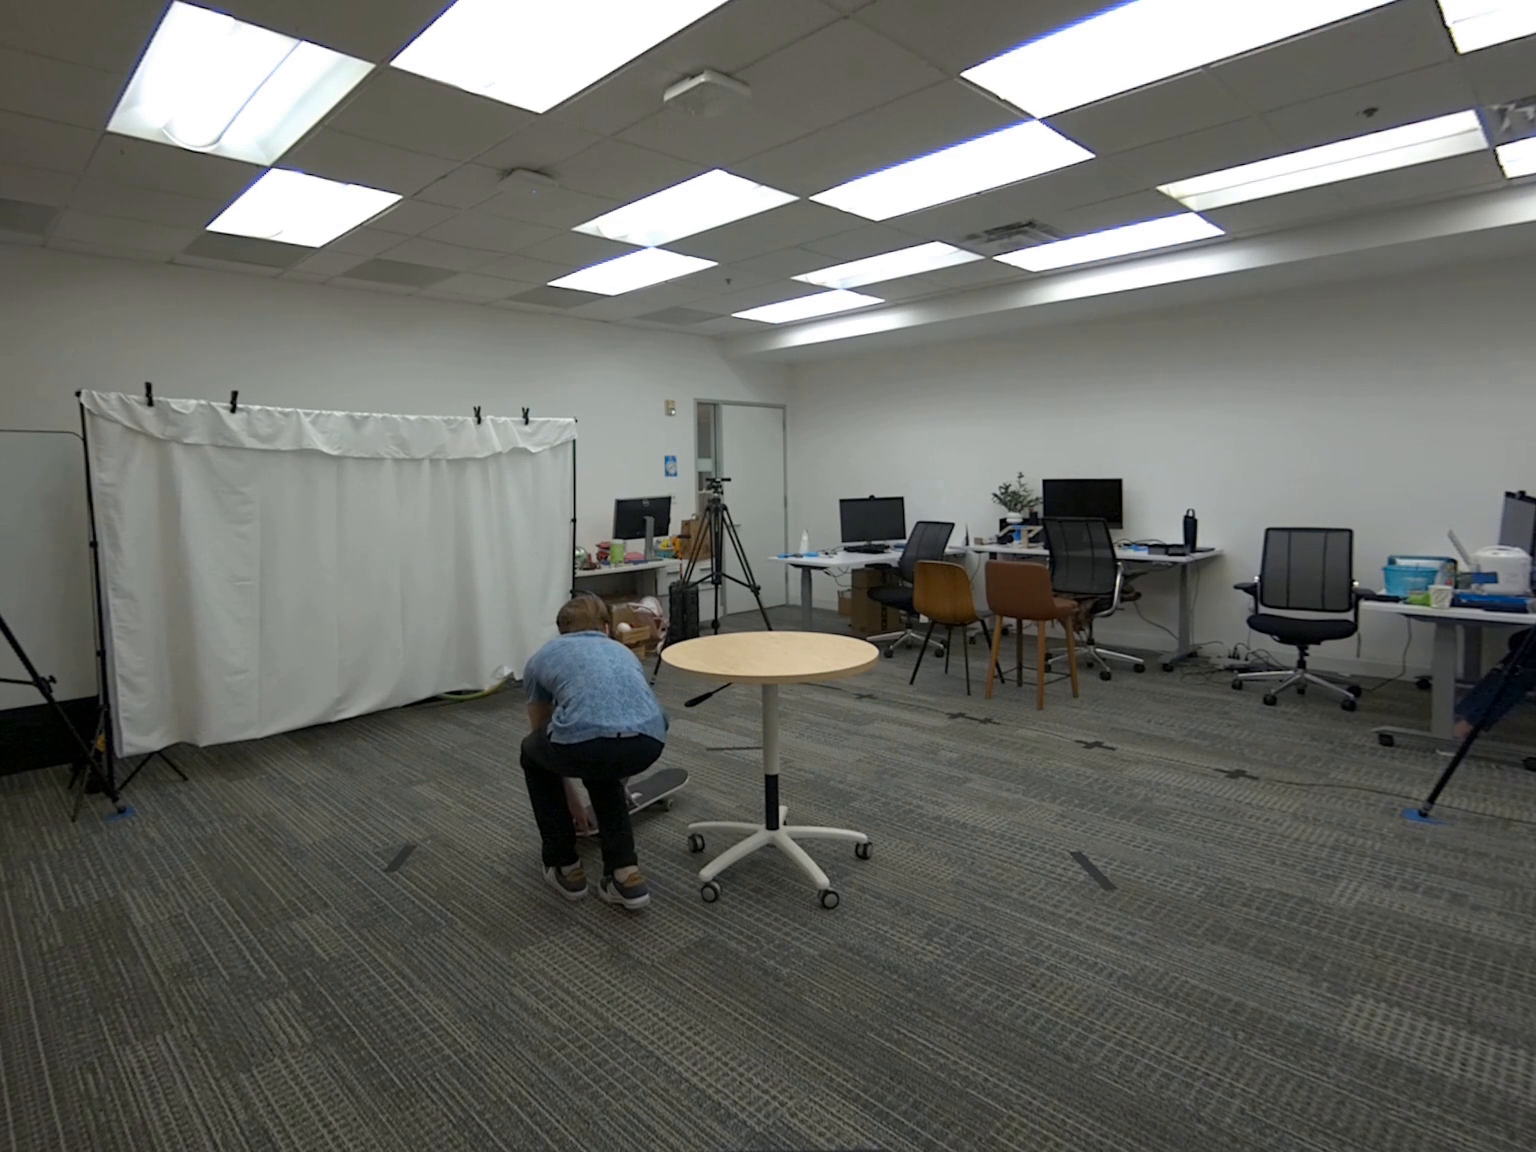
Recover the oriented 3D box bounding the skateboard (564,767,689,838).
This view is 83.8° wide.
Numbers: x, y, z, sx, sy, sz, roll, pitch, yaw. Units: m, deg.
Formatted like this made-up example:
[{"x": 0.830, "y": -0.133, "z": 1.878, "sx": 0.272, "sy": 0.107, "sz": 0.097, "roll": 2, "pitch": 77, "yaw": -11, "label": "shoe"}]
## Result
[{"x": -0.587, "y": 0.952, "z": 3.493, "sx": 0.199, "sy": 0.110, "sz": 0.768, "roll": 3, "pitch": 8, "yaw": 31, "label": "skateboard"}]
